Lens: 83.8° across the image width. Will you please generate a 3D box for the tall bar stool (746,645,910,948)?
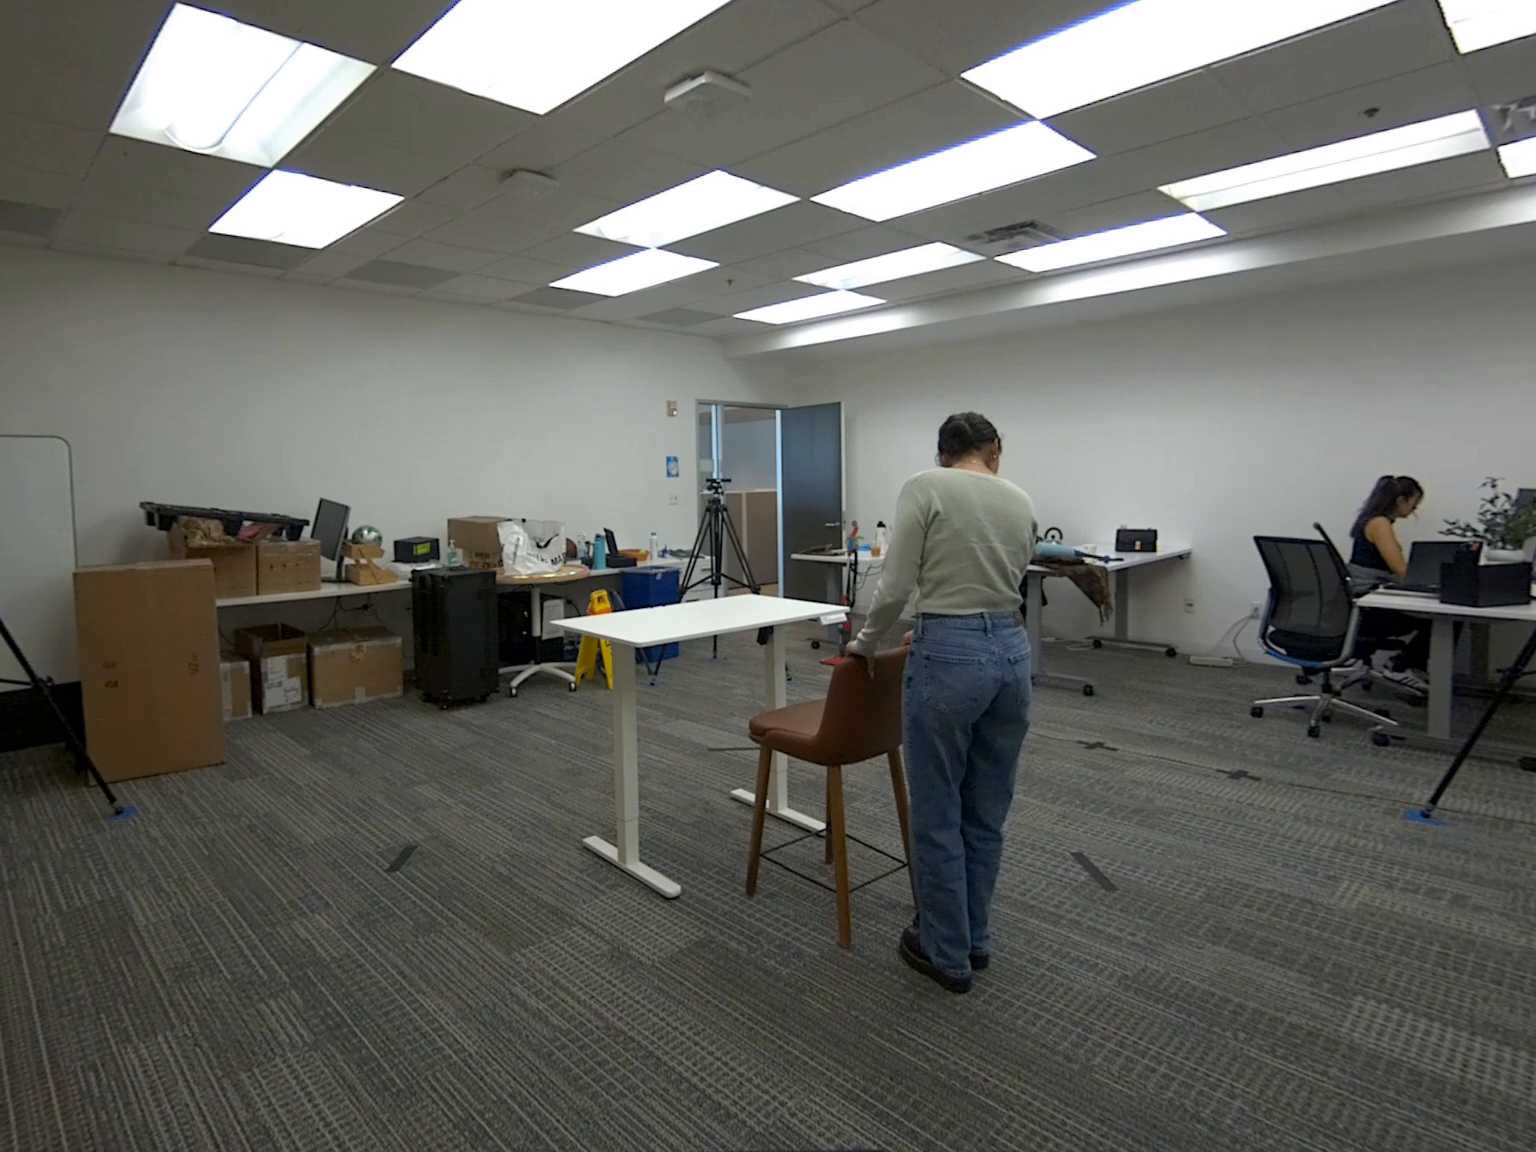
[{"bbox_3d":[0.226,0.636,2.782,0.444,0.885,0.482,-4,8,-39],"label":"tall bar stool"}]
